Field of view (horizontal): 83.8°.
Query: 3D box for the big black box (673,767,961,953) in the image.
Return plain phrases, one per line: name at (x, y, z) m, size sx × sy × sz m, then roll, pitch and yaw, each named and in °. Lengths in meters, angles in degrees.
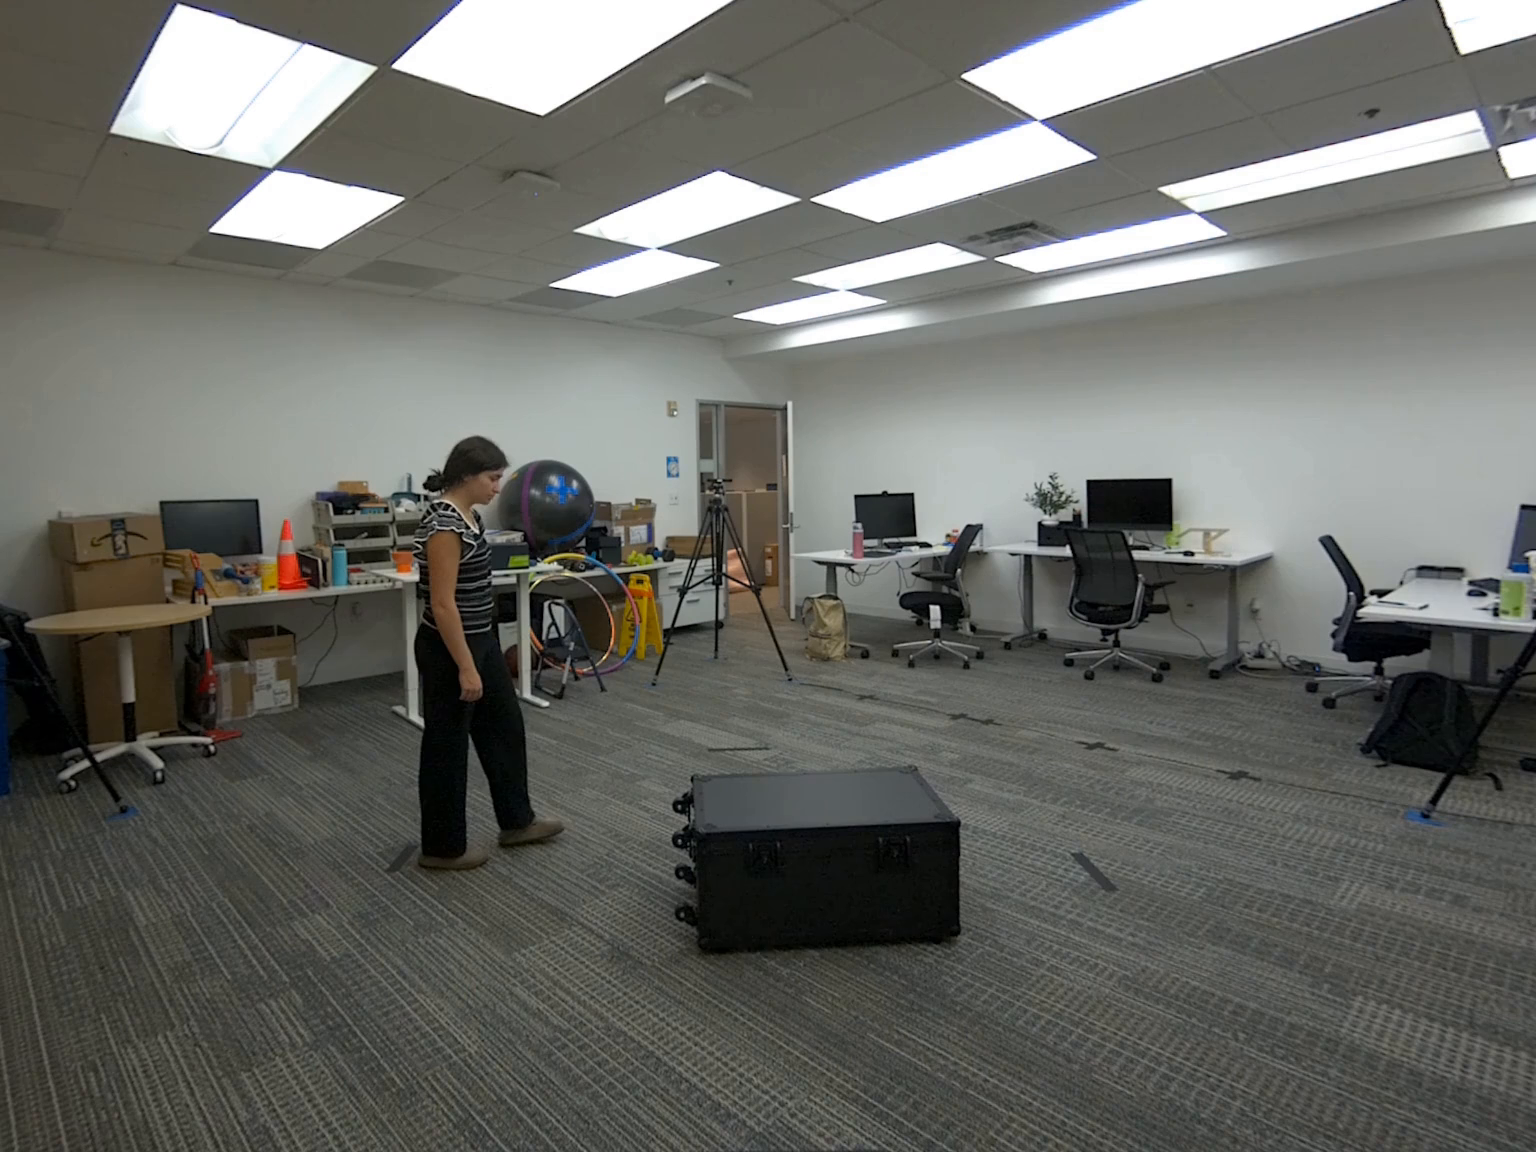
big black box at (0.124, 0.886, 2.752) m, size 0.858 × 0.395 × 0.526 m, roll -2°, pitch 5°, yaw -5°
